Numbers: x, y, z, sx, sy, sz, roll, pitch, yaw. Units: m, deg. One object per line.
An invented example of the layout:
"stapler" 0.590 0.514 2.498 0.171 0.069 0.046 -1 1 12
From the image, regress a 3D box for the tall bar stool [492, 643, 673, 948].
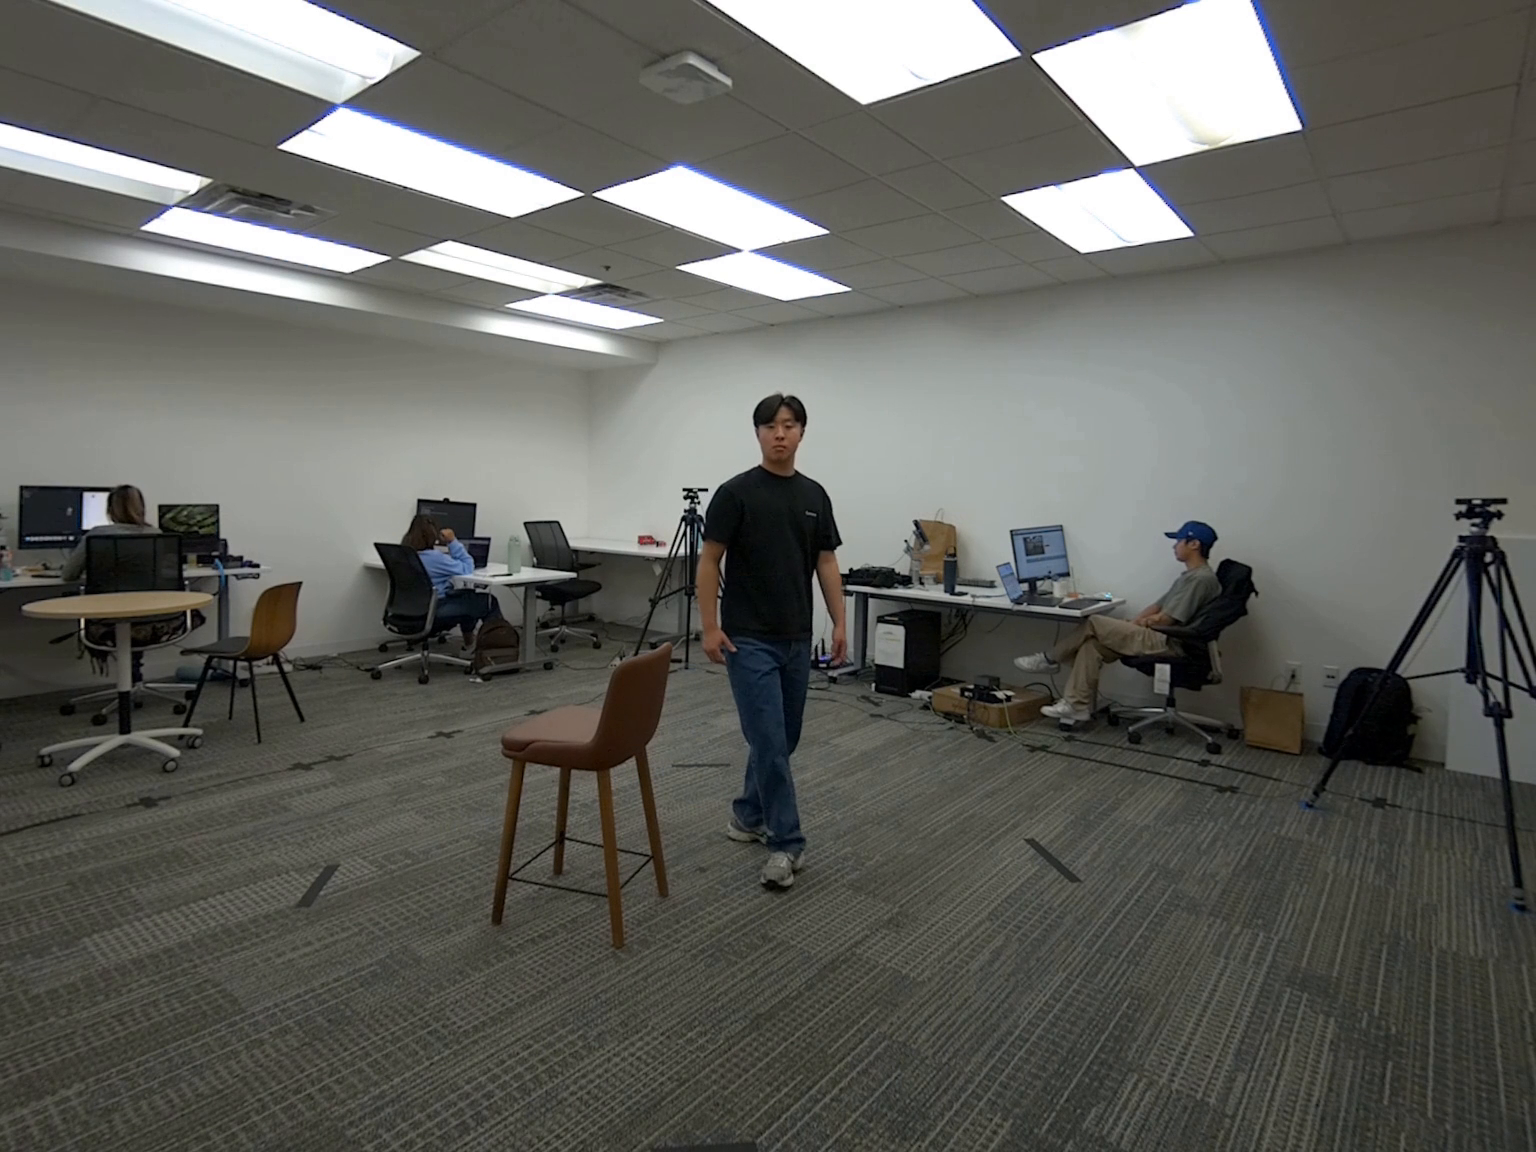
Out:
"tall bar stool" -0.604 0.658 2.780 0.478 0.887 0.448 4 4 19
